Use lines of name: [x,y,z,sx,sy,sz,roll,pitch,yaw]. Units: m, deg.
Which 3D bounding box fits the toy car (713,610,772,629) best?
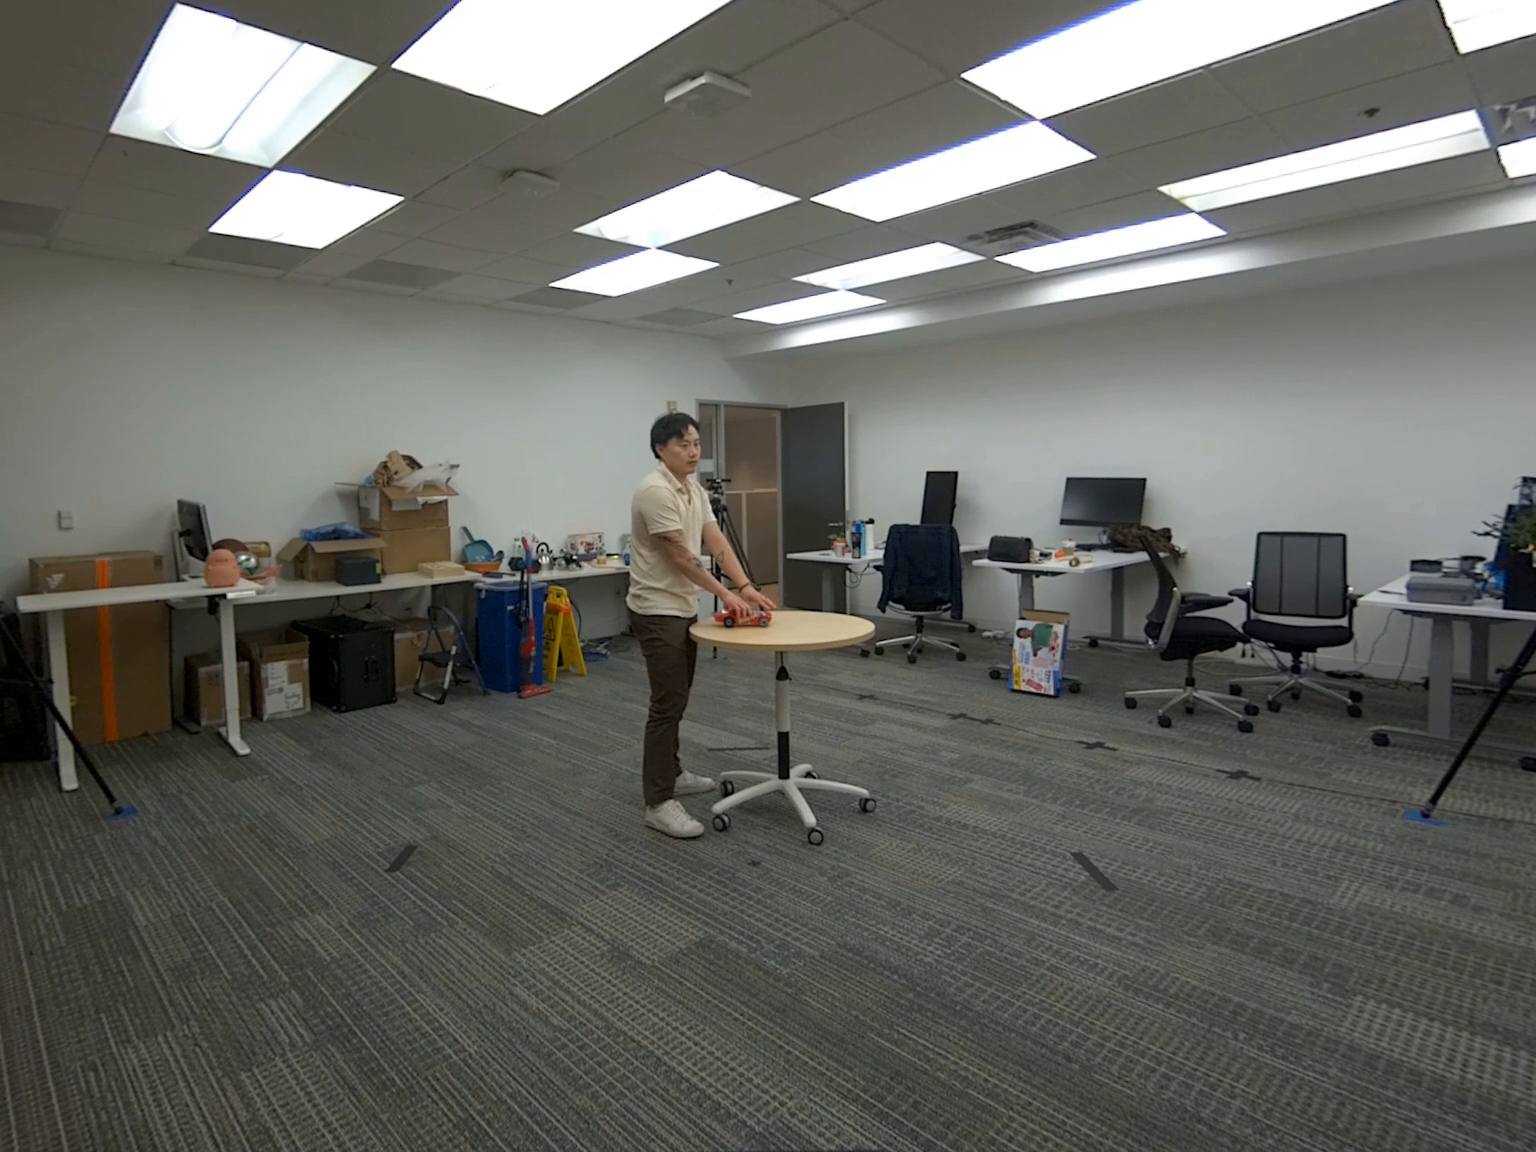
toy car: [-0.117,0.176,3.583,0.254,0.083,0.131,10,5,-1]
